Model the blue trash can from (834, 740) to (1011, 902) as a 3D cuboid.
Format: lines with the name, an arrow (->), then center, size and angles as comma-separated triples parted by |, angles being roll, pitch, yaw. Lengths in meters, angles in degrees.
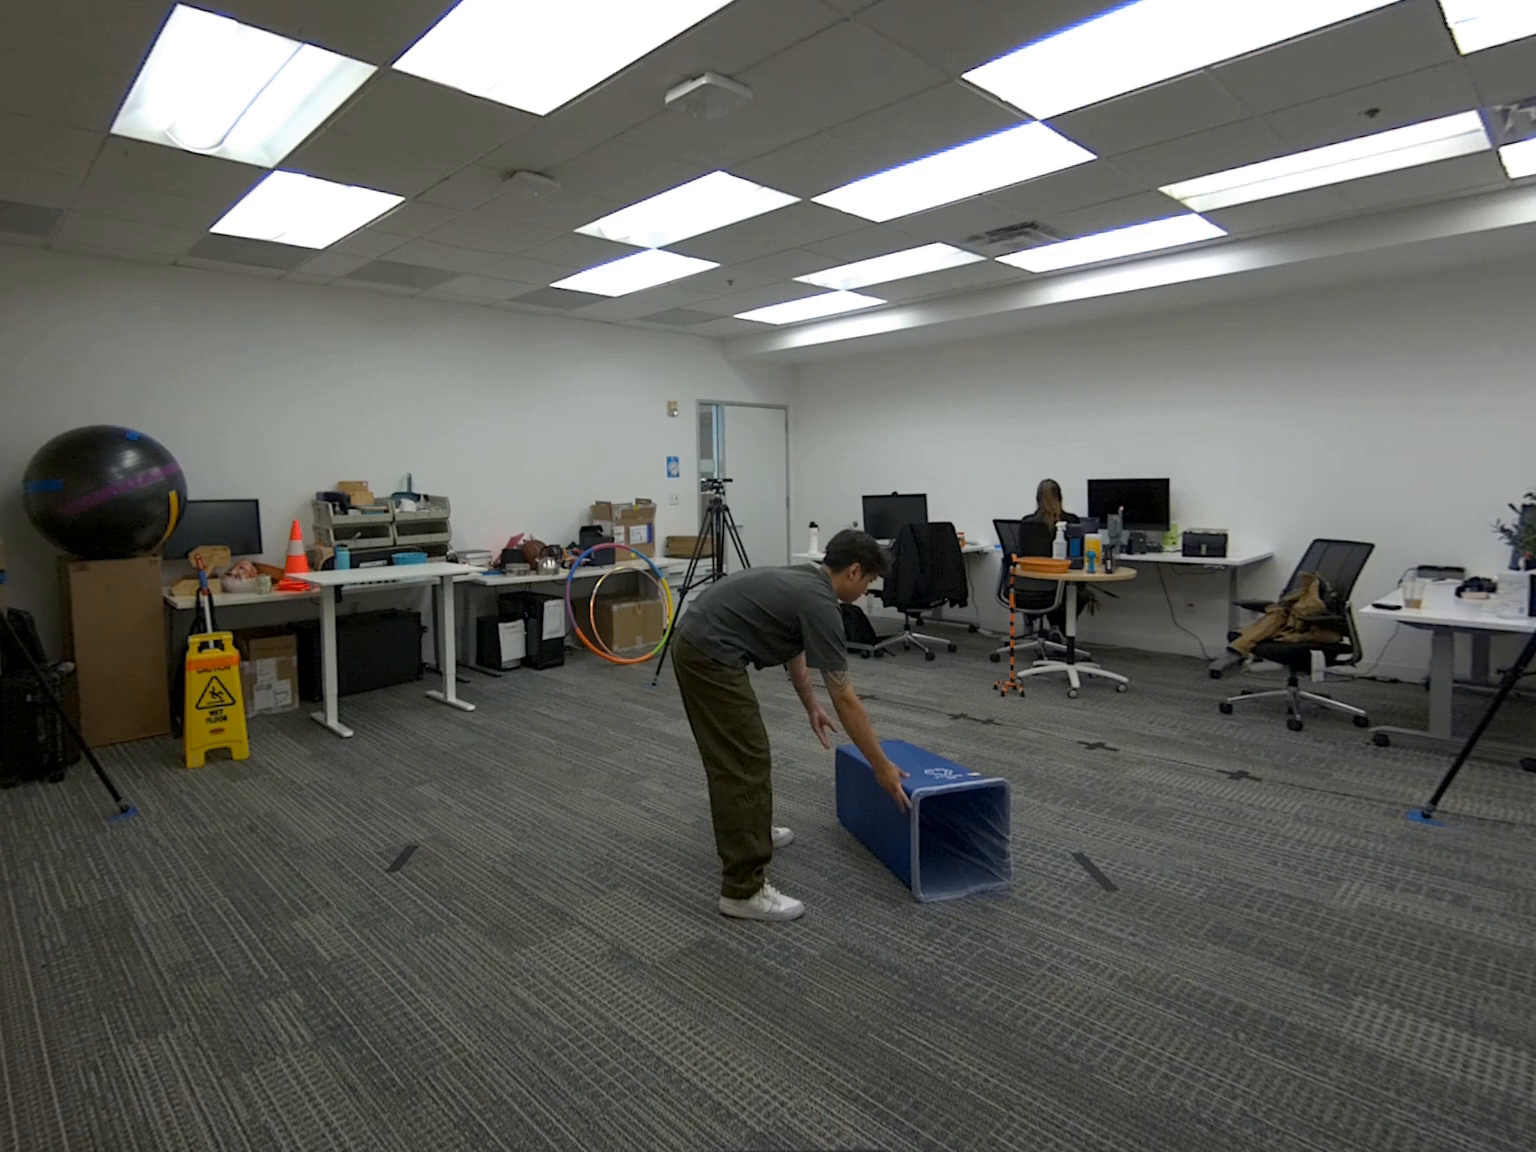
blue trash can -> 0.536, 0.849, 3.182 | 0.372, 0.373, 0.728 | -4, 5, -19
